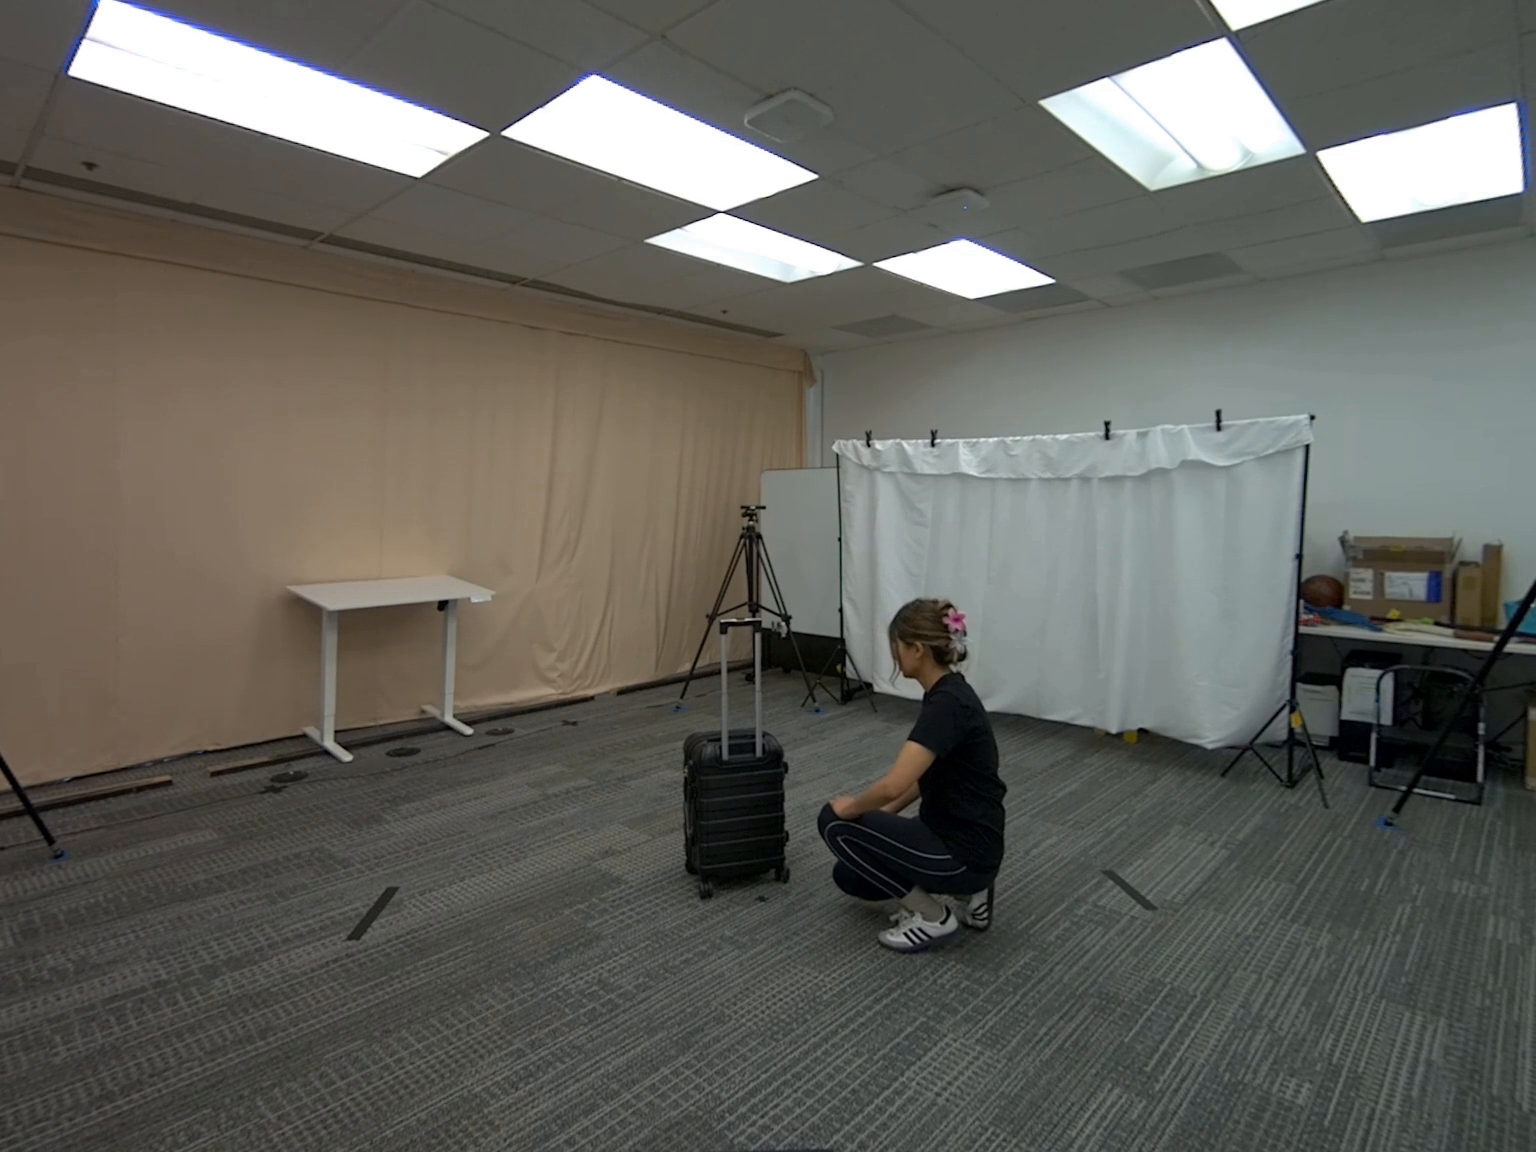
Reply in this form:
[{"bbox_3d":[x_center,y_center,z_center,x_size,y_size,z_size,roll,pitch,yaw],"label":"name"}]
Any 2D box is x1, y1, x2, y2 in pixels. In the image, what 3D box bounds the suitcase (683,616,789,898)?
[{"bbox_3d":[-0.131,0.651,3.144,0.378,0.978,0.261,-1,1,-15],"label":"suitcase"}]
